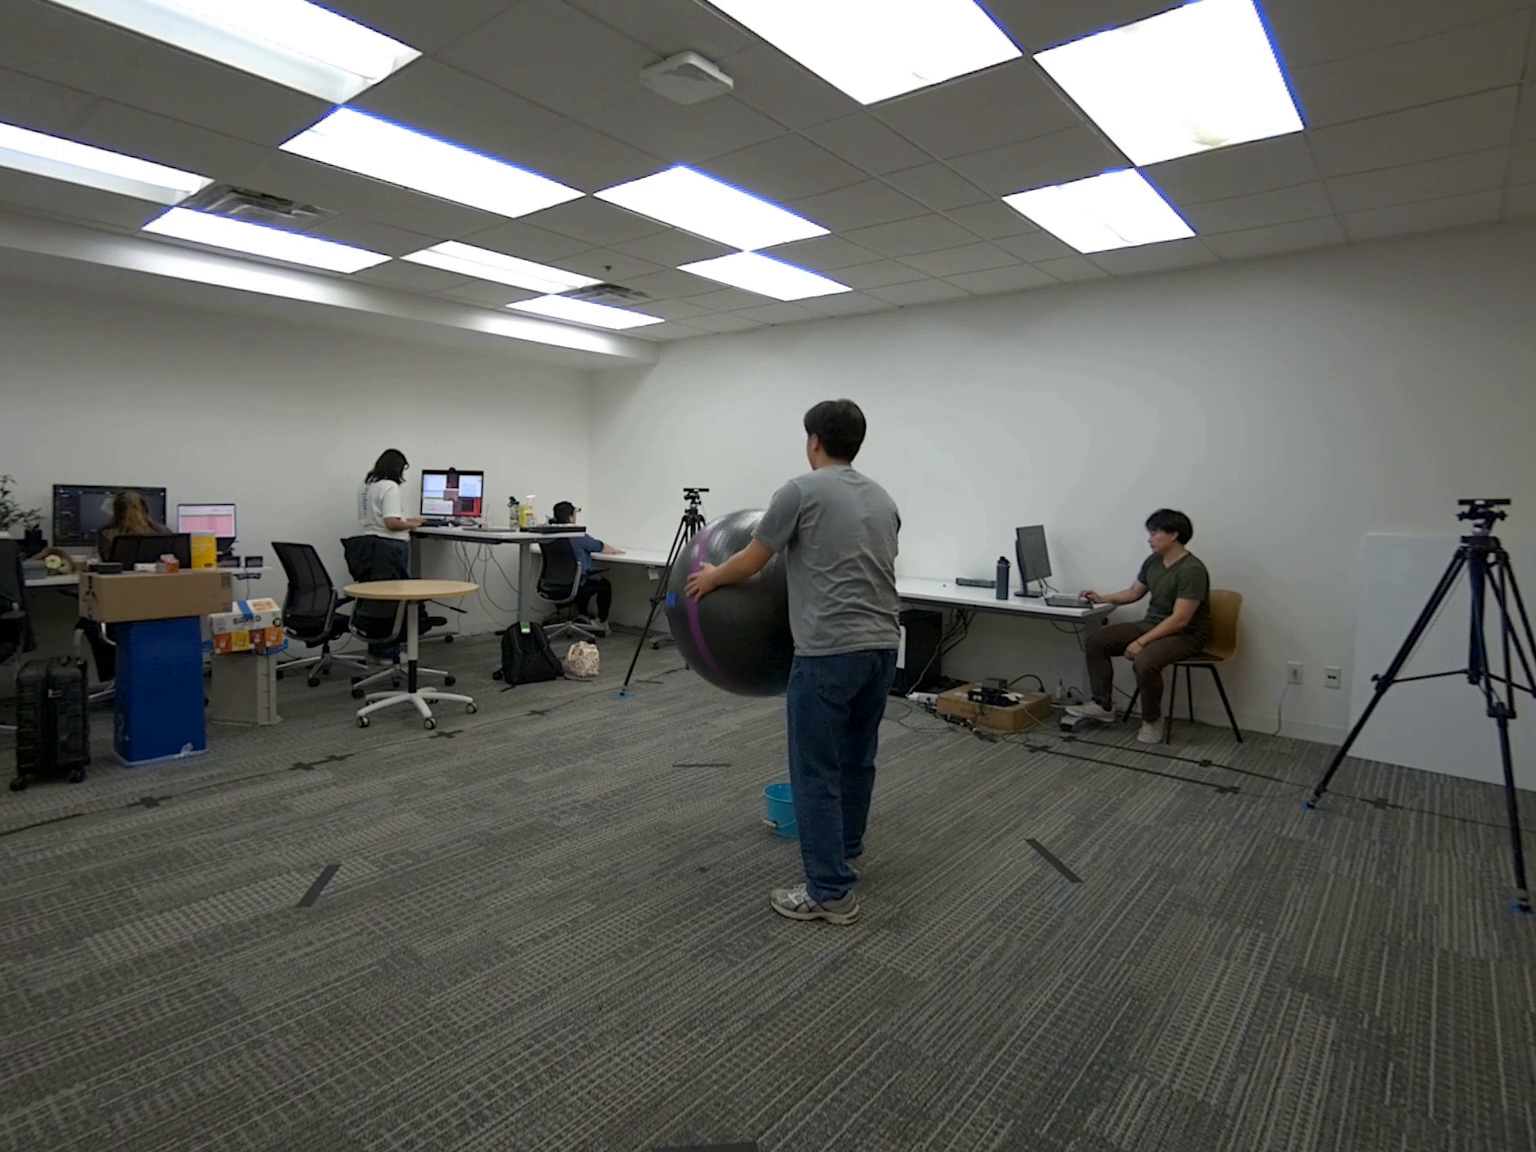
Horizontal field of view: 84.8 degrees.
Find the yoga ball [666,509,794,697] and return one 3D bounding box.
[{"bbox_3d":[-0.047,0.098,3.473,0.757,0.756,0.761,1,4,-2],"label":"yoga ball"}]
